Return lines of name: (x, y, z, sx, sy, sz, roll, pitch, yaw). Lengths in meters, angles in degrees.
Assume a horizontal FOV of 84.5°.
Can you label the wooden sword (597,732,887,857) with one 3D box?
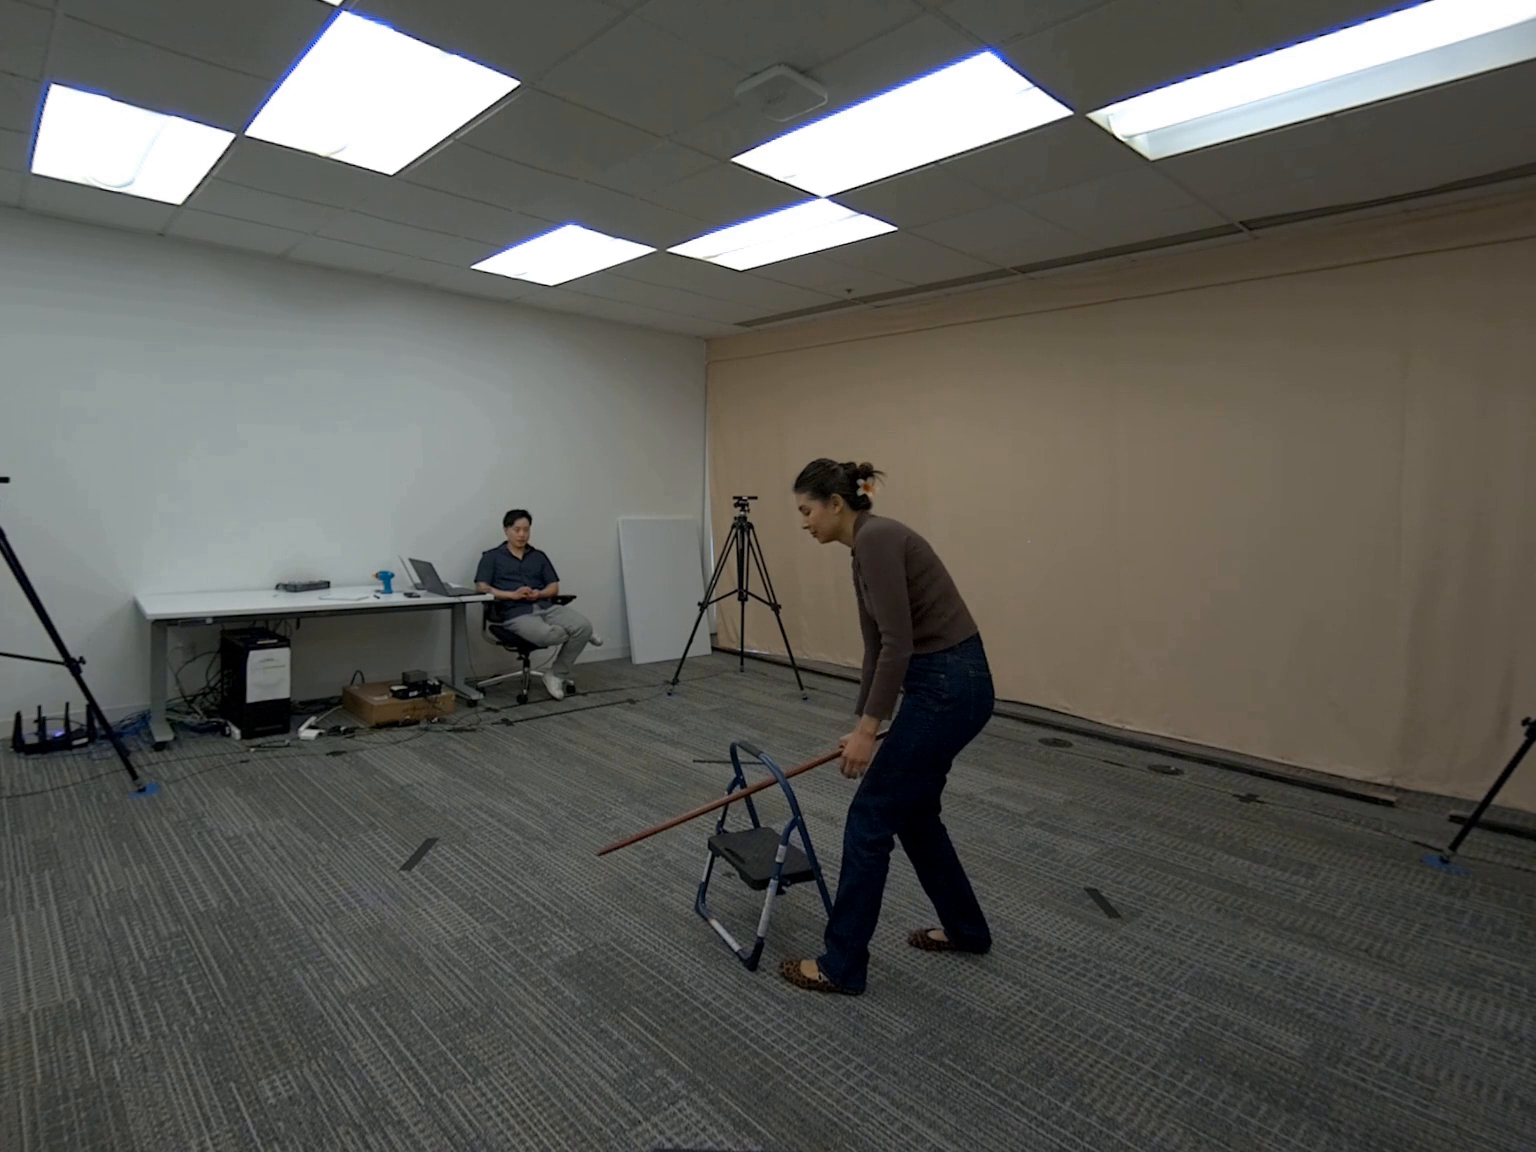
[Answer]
wooden sword: (-0.049, 0.668, 2.631, 1.015, 0.050, 0.025, -19, 39, -18)
